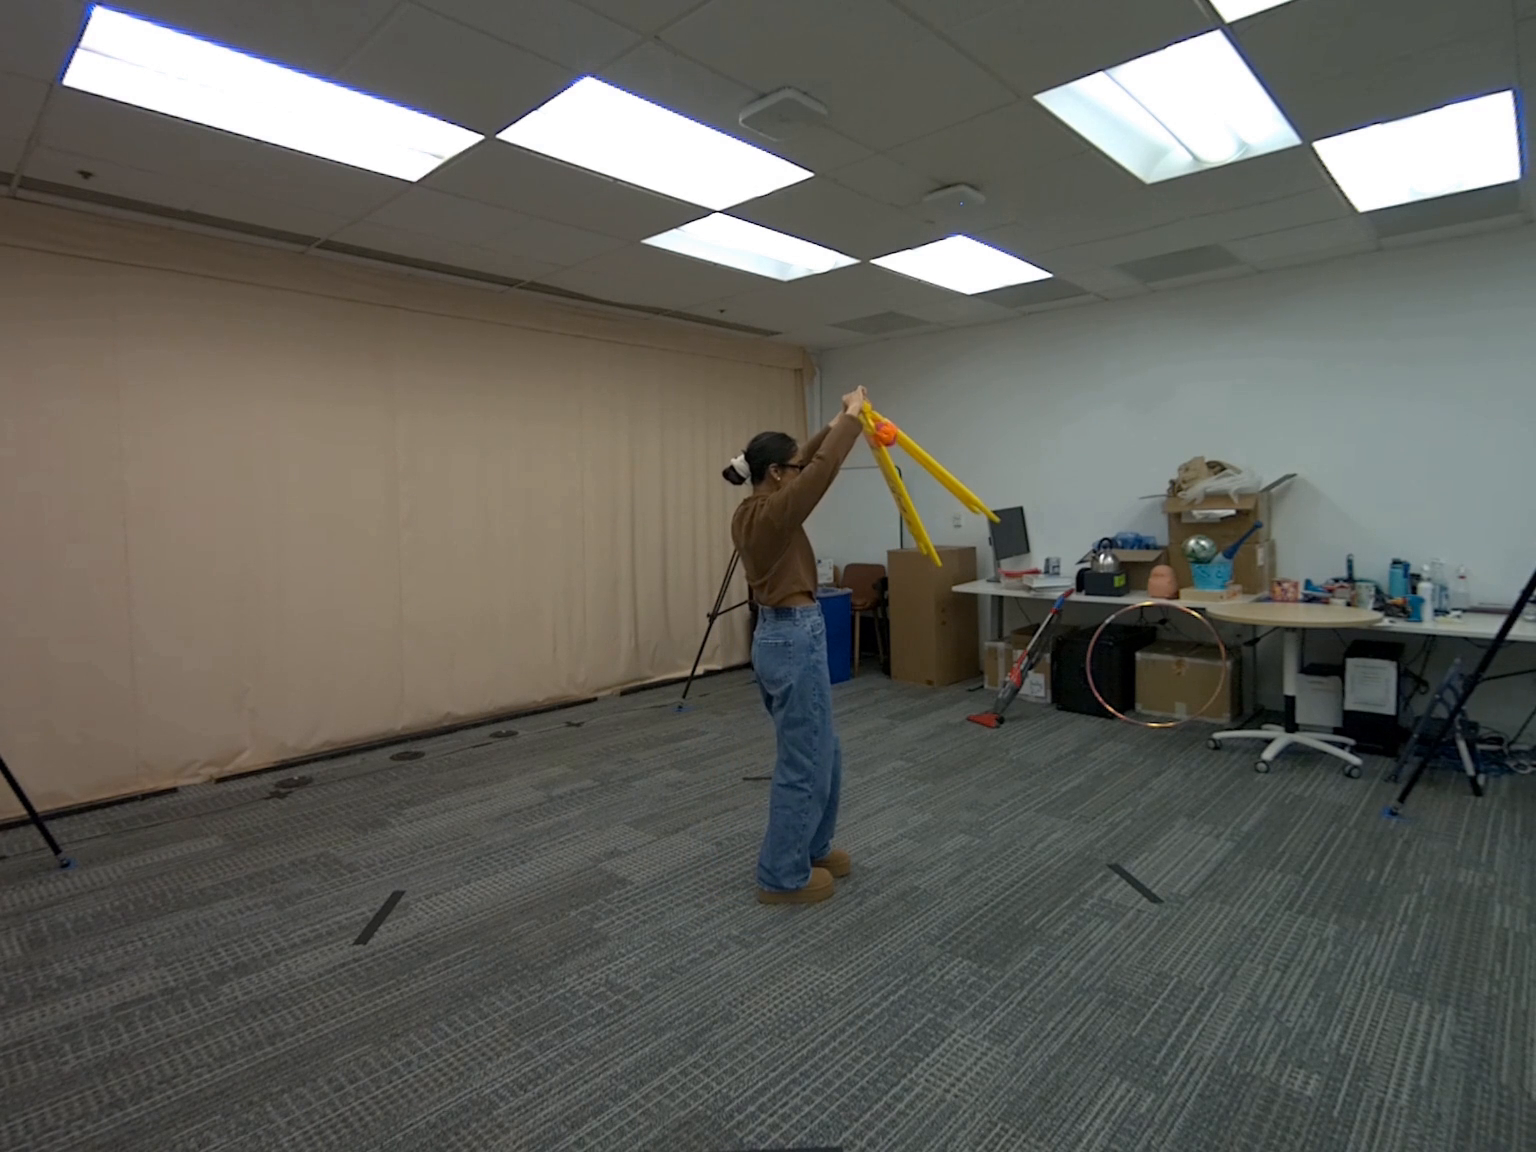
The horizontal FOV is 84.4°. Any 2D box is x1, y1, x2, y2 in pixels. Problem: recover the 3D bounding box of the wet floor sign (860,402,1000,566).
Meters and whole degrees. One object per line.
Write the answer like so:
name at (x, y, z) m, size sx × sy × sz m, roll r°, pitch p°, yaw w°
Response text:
wet floor sign at (0.520, -0.389, 3.072) m, size 0.290 × 0.639 × 0.284 m, roll -37°, pitch 9°, yaw 4°
